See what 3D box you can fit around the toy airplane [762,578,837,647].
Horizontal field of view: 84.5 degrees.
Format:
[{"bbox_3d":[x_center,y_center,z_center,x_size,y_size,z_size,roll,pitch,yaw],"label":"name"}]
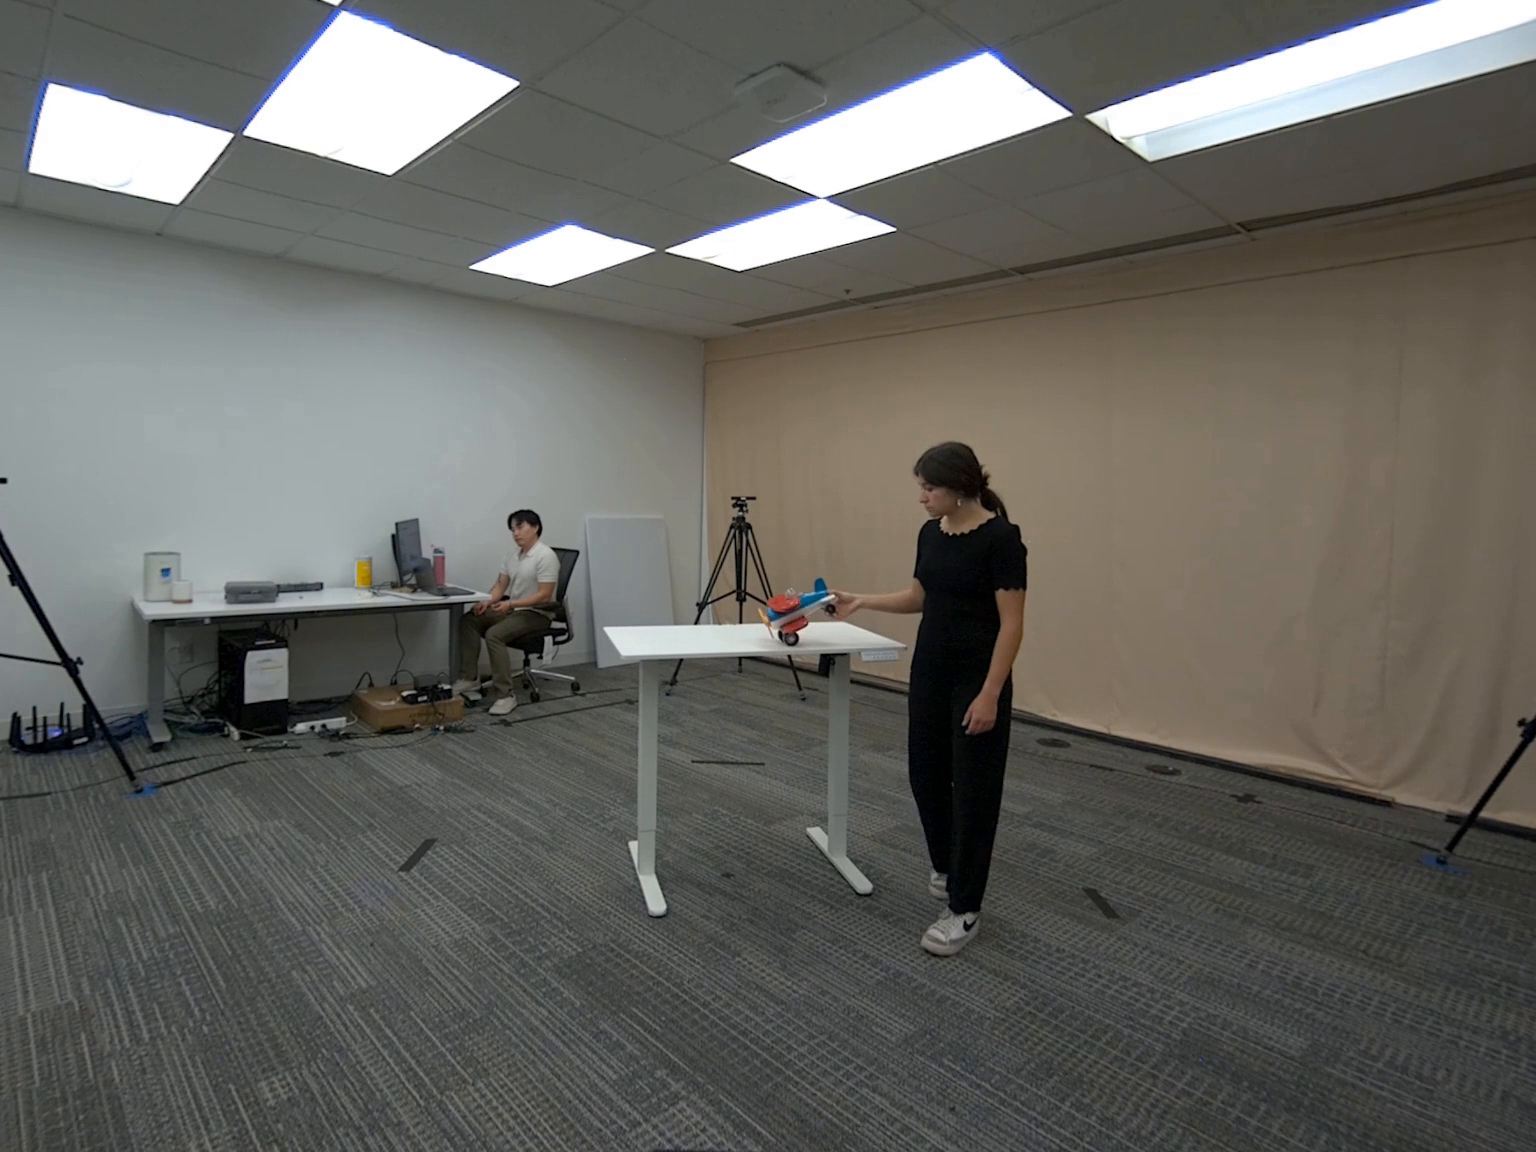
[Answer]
[{"bbox_3d":[0.100,0.124,2.971,0.258,0.155,0.254,-43,13,-34],"label":"toy airplane"}]
